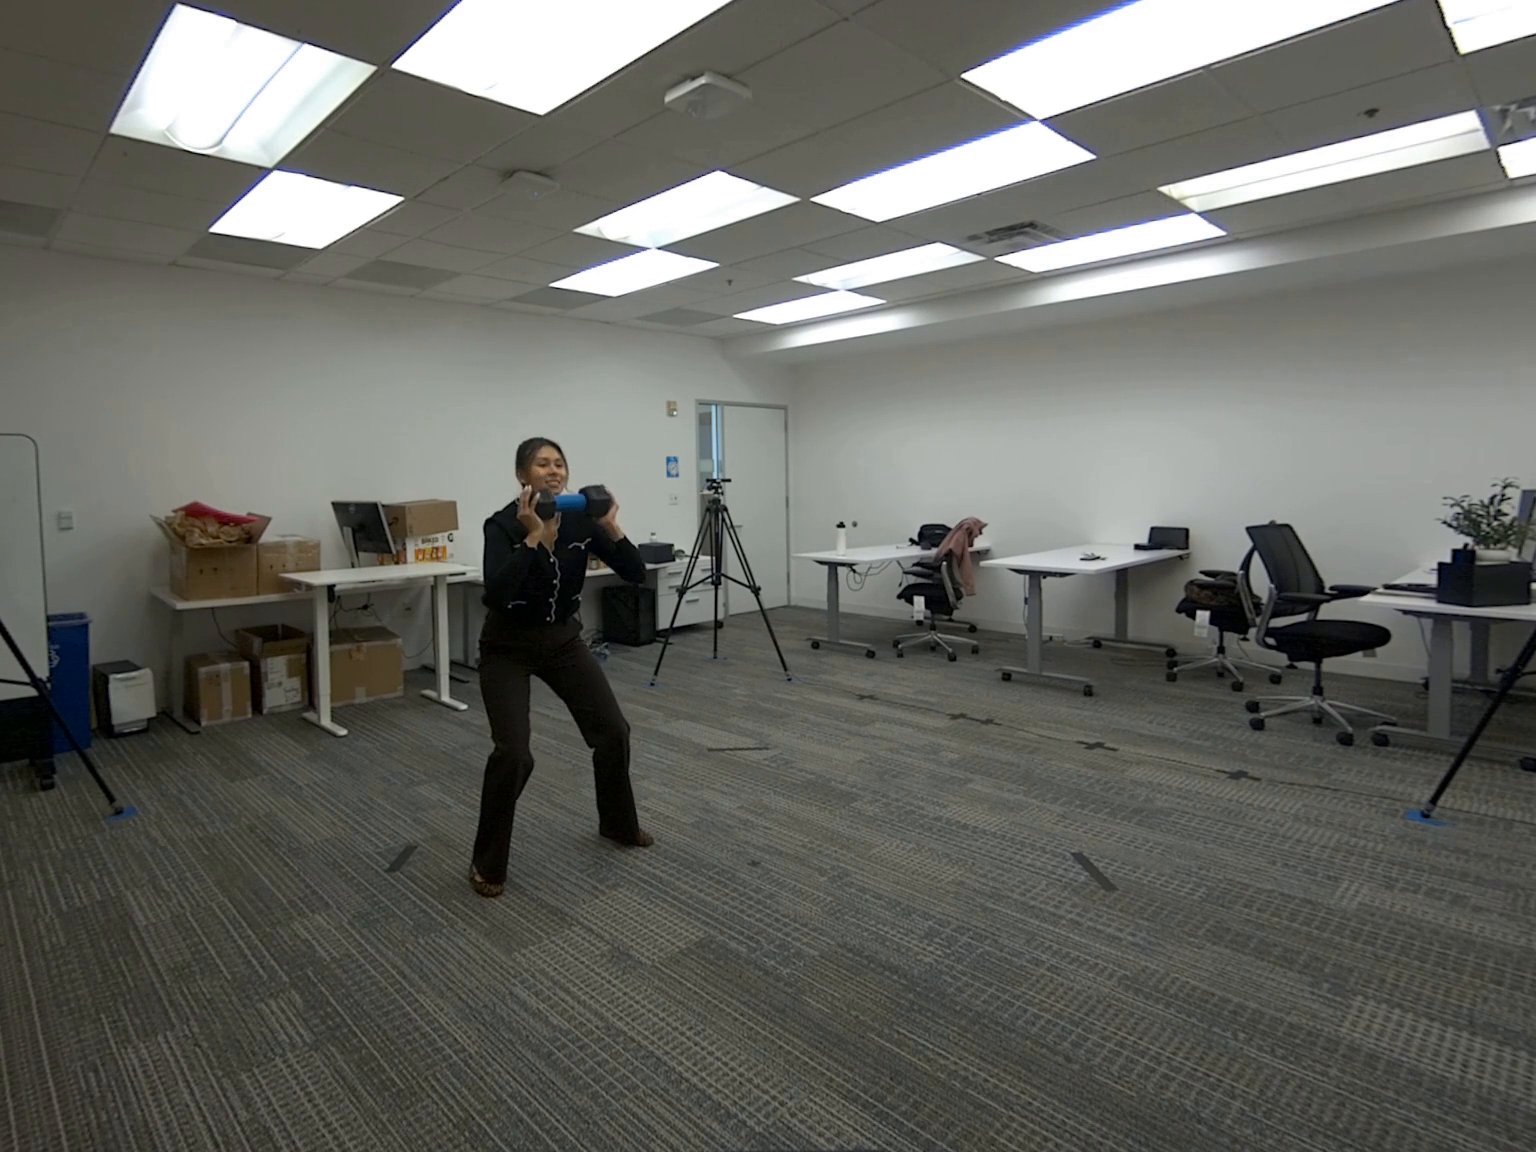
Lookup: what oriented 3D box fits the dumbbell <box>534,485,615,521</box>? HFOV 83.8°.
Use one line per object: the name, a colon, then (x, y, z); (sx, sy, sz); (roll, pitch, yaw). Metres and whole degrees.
dumbbell: (-0.698, -0.247, 2.935); (0.286, 0.127, 0.108); (-7, -34, -40)
